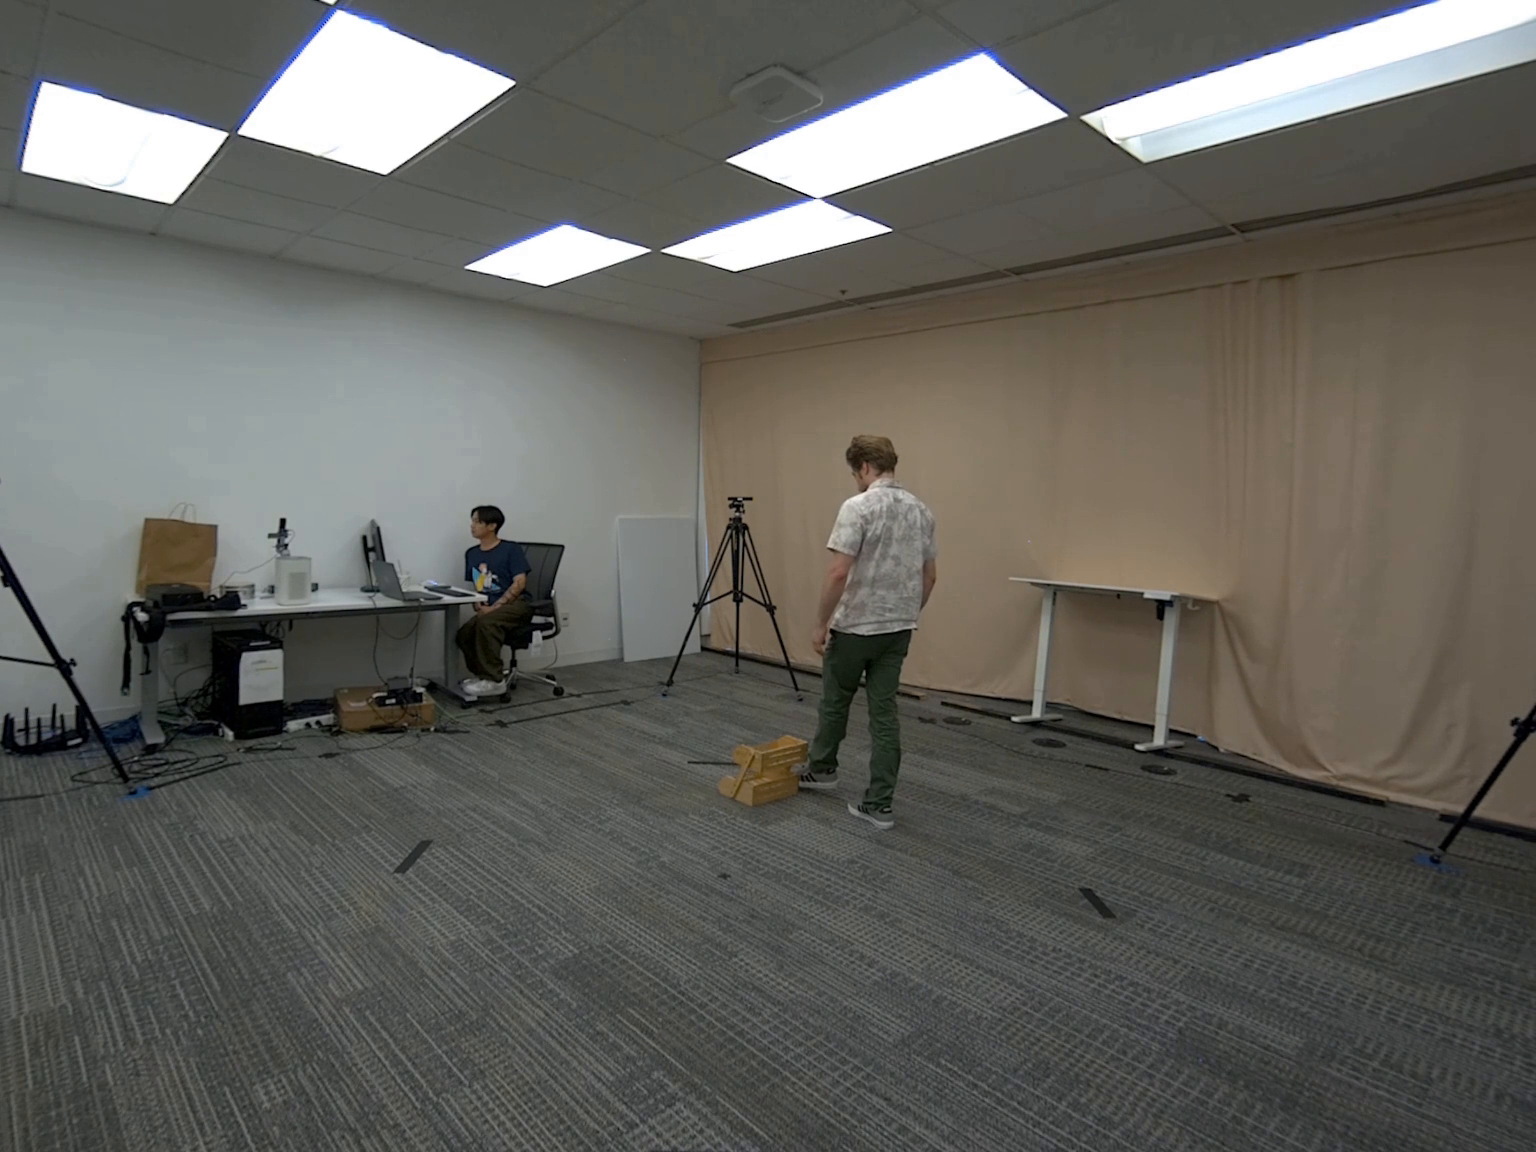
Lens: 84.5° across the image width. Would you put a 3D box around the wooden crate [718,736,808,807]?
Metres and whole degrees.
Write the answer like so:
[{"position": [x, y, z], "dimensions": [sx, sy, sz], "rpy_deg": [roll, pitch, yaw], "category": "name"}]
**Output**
[{"position": [-0.038, 0.898, 3.989], "dimensions": [0.317, 0.272, 0.310], "rpy_deg": [-2, 6, -43], "category": "wooden crate"}]
